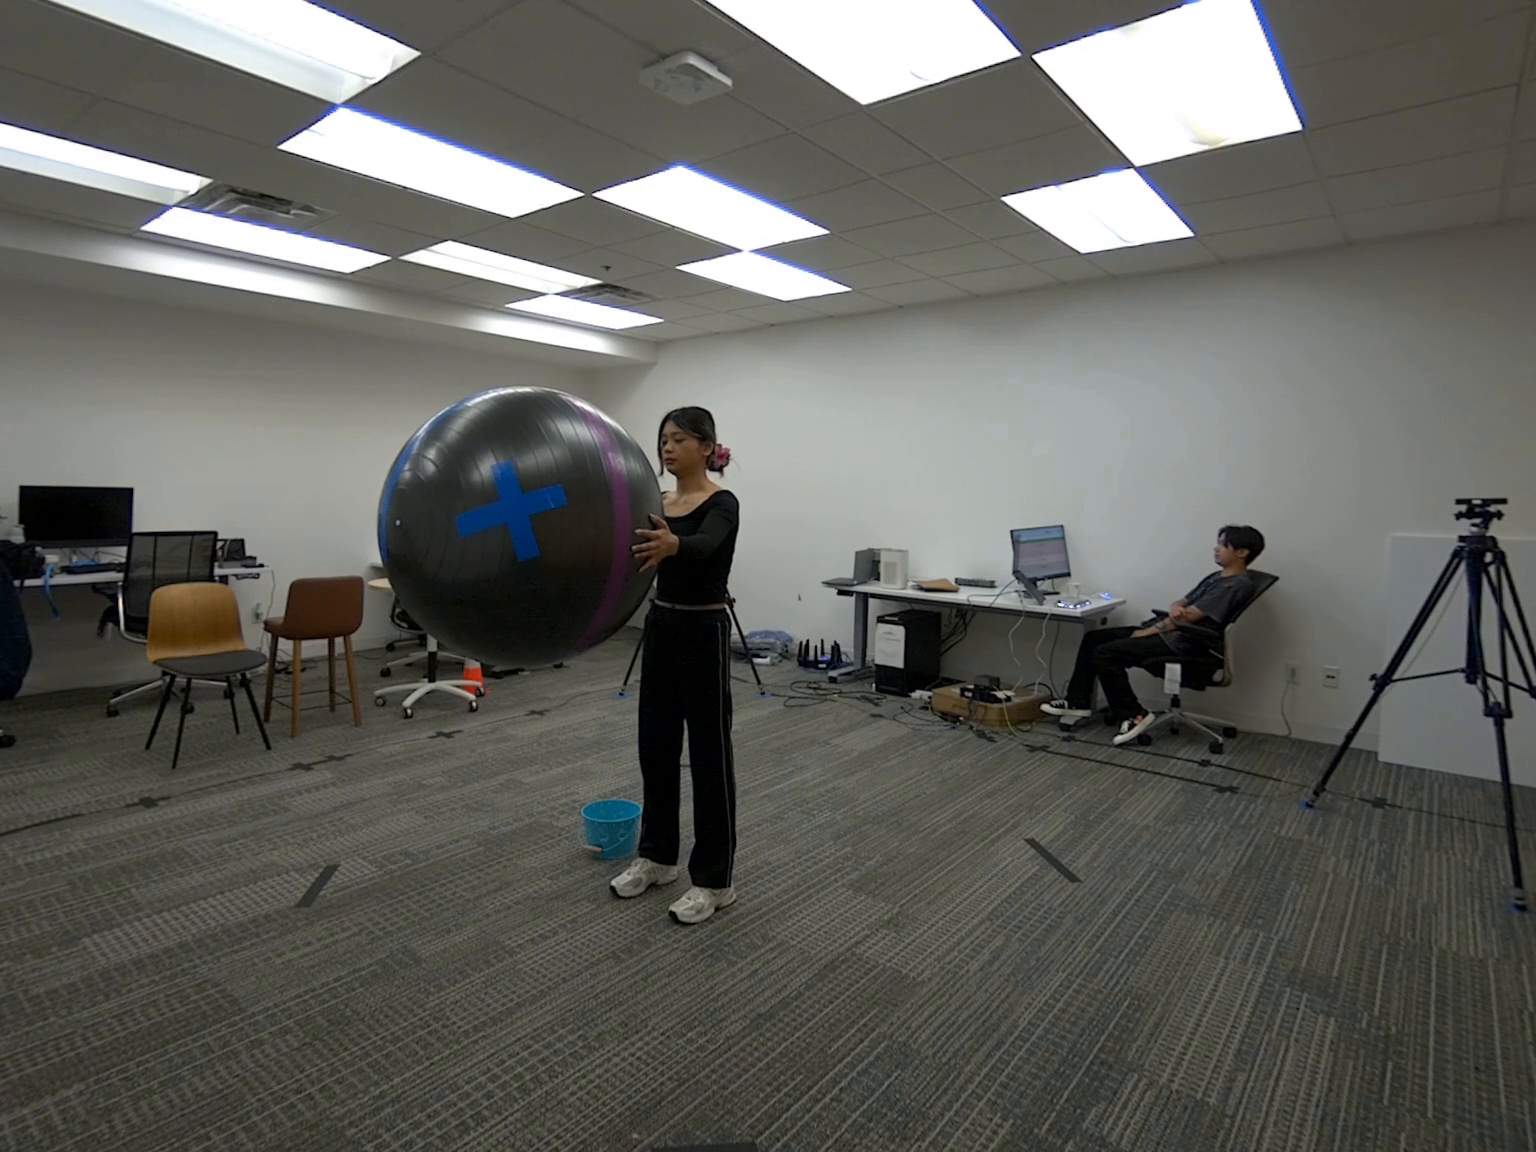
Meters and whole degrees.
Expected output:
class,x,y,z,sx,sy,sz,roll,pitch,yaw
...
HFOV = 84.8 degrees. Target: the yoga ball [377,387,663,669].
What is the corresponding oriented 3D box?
class,x,y,z,sx,sy,sz,roll,pitch,yaw
yoga ball,-0.676,-0.128,2.309,0.757,0.755,0.762,1,4,-2
